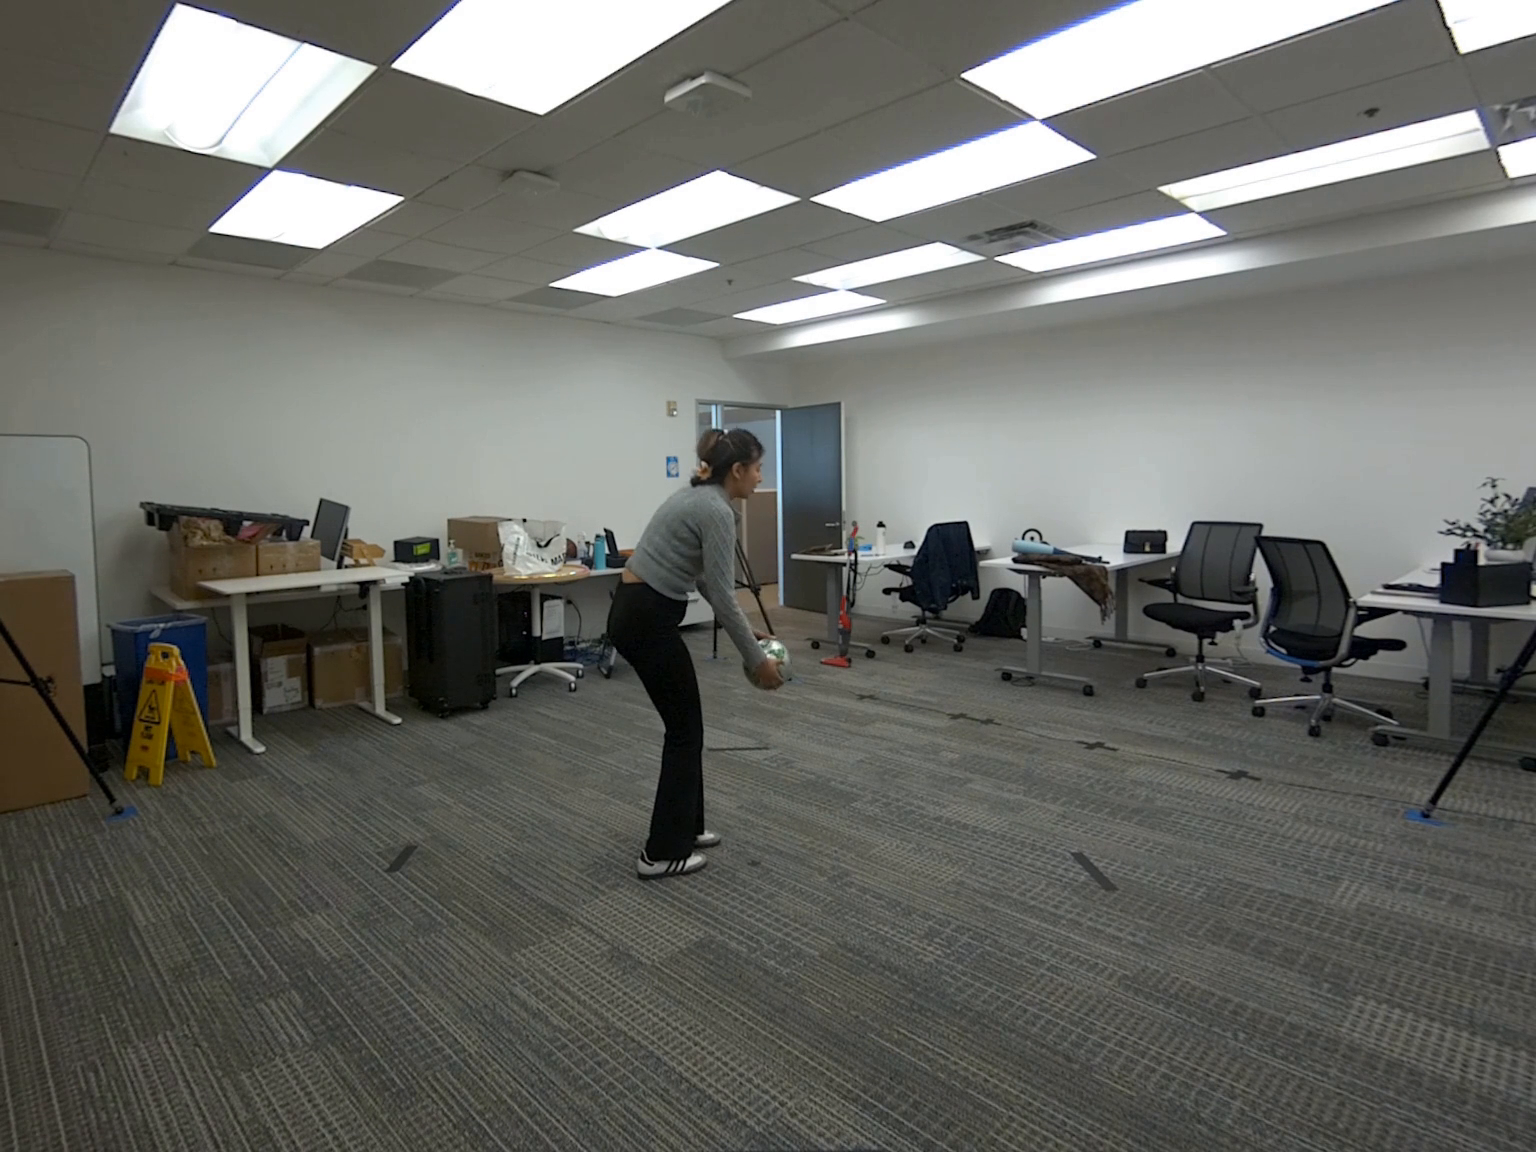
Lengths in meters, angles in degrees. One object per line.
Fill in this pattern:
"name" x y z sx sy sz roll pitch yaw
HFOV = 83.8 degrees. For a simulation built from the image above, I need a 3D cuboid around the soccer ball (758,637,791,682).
"soccer ball" -0.001 0.330 3.176 0.187 0.187 0.188 -1 5 -2
